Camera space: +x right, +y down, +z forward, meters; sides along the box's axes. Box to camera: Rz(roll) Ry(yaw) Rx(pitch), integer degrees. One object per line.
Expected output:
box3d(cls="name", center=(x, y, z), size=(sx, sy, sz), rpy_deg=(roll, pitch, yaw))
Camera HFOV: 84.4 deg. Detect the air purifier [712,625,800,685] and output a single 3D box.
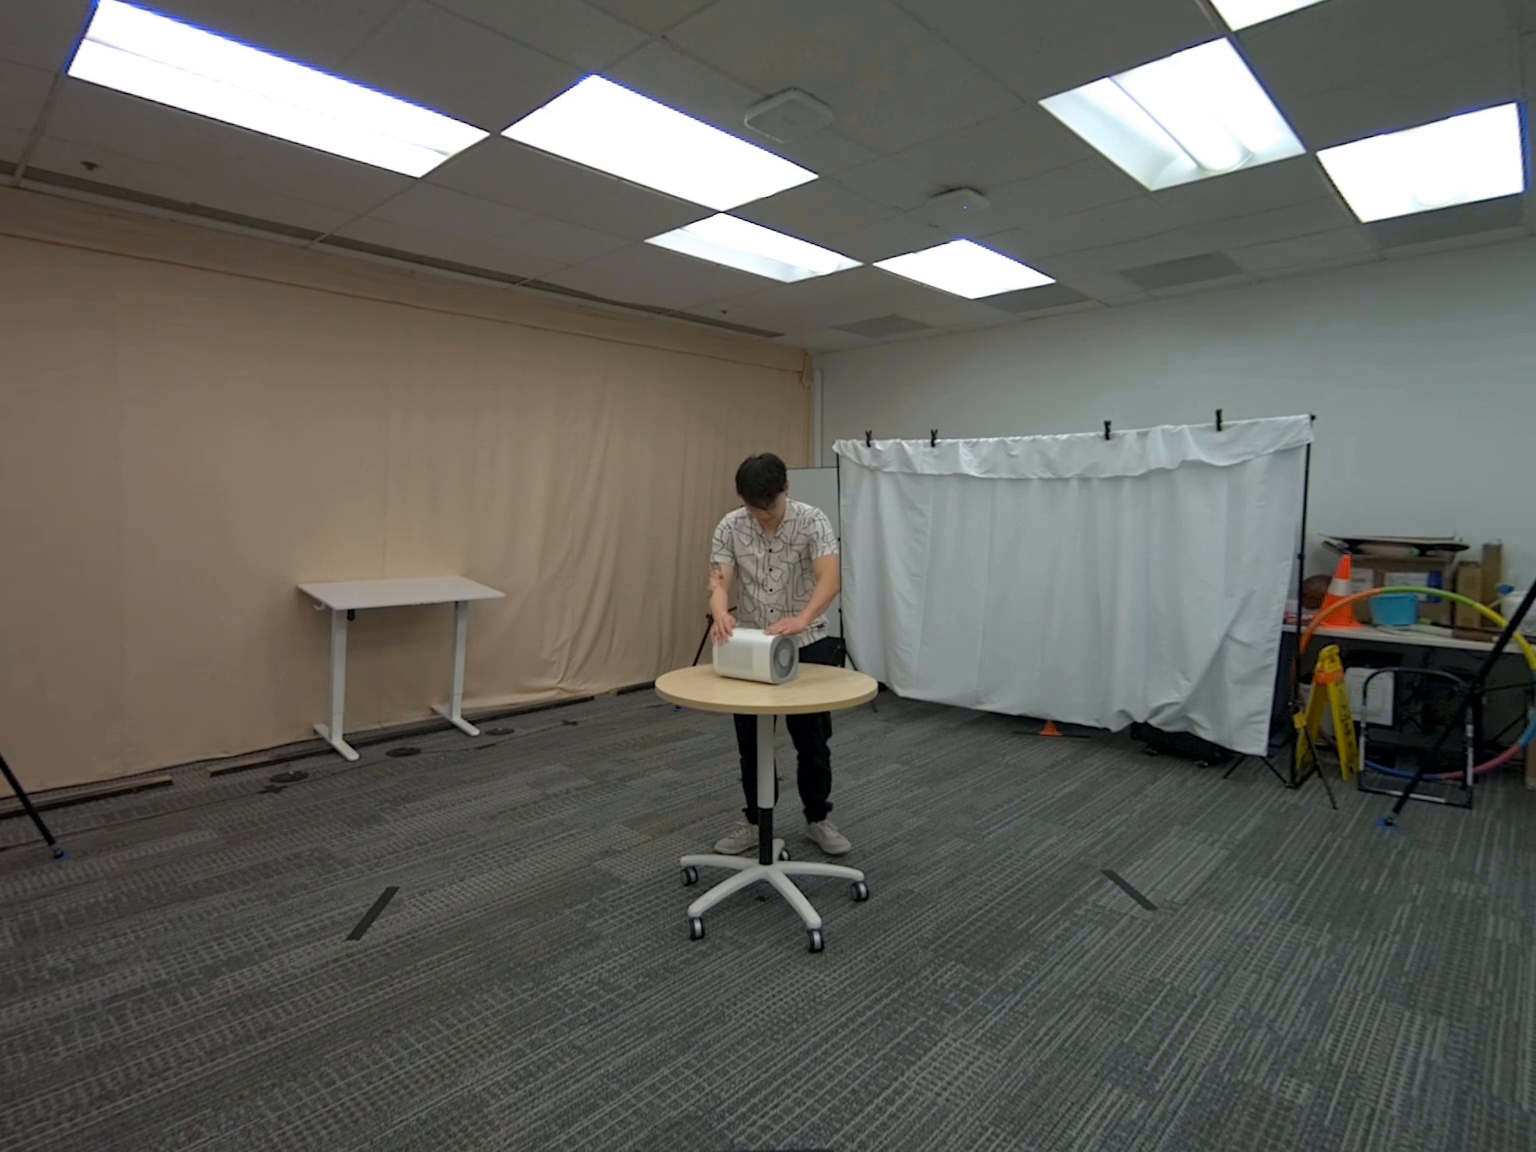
box3d(cls="air purifier", center=(-0.046, 0.272, 2.968), size=(0.274, 0.171, 0.166), rpy_deg=(4, 4, 38))
